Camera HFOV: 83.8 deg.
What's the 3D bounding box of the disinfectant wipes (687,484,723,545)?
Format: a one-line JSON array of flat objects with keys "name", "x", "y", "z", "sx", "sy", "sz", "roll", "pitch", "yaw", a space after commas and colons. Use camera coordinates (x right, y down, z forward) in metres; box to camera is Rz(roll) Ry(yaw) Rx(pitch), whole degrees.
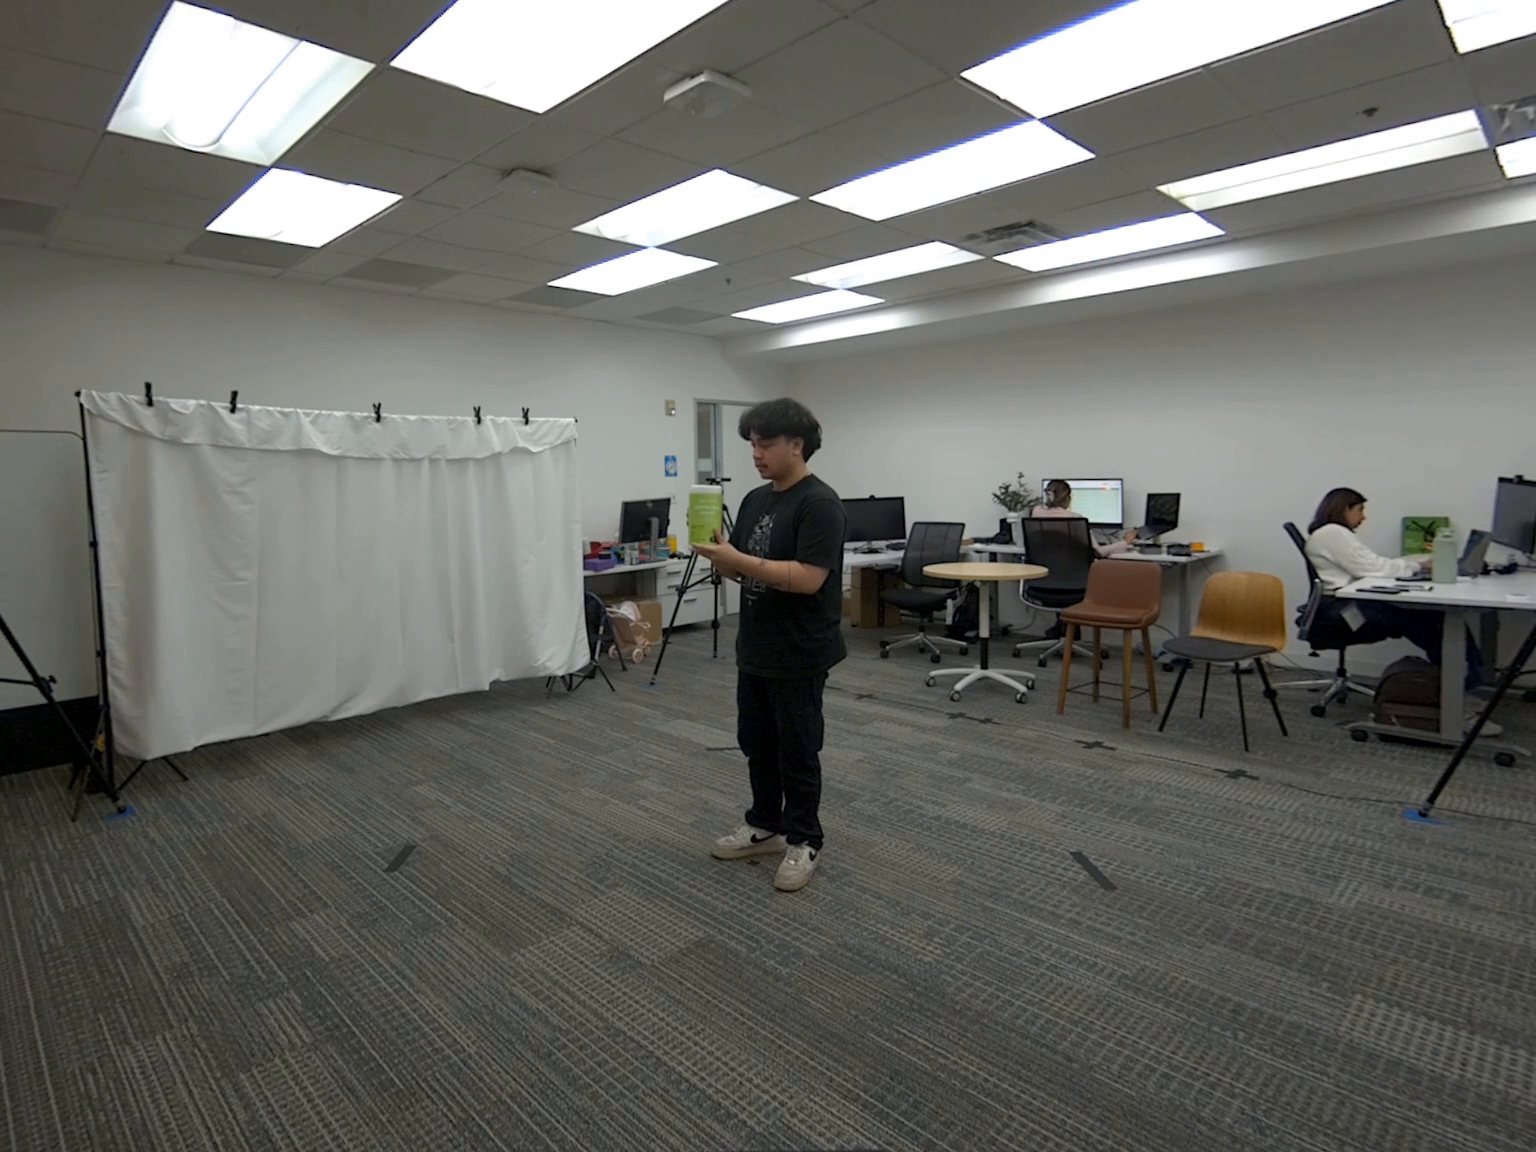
[{"name": "disinfectant wipes", "x": -0.213, "y": -0.186, "z": 2.814, "sx": 0.118, "sy": 0.217, "sz": 0.118, "roll": 3, "pitch": 3, "yaw": -2}]
